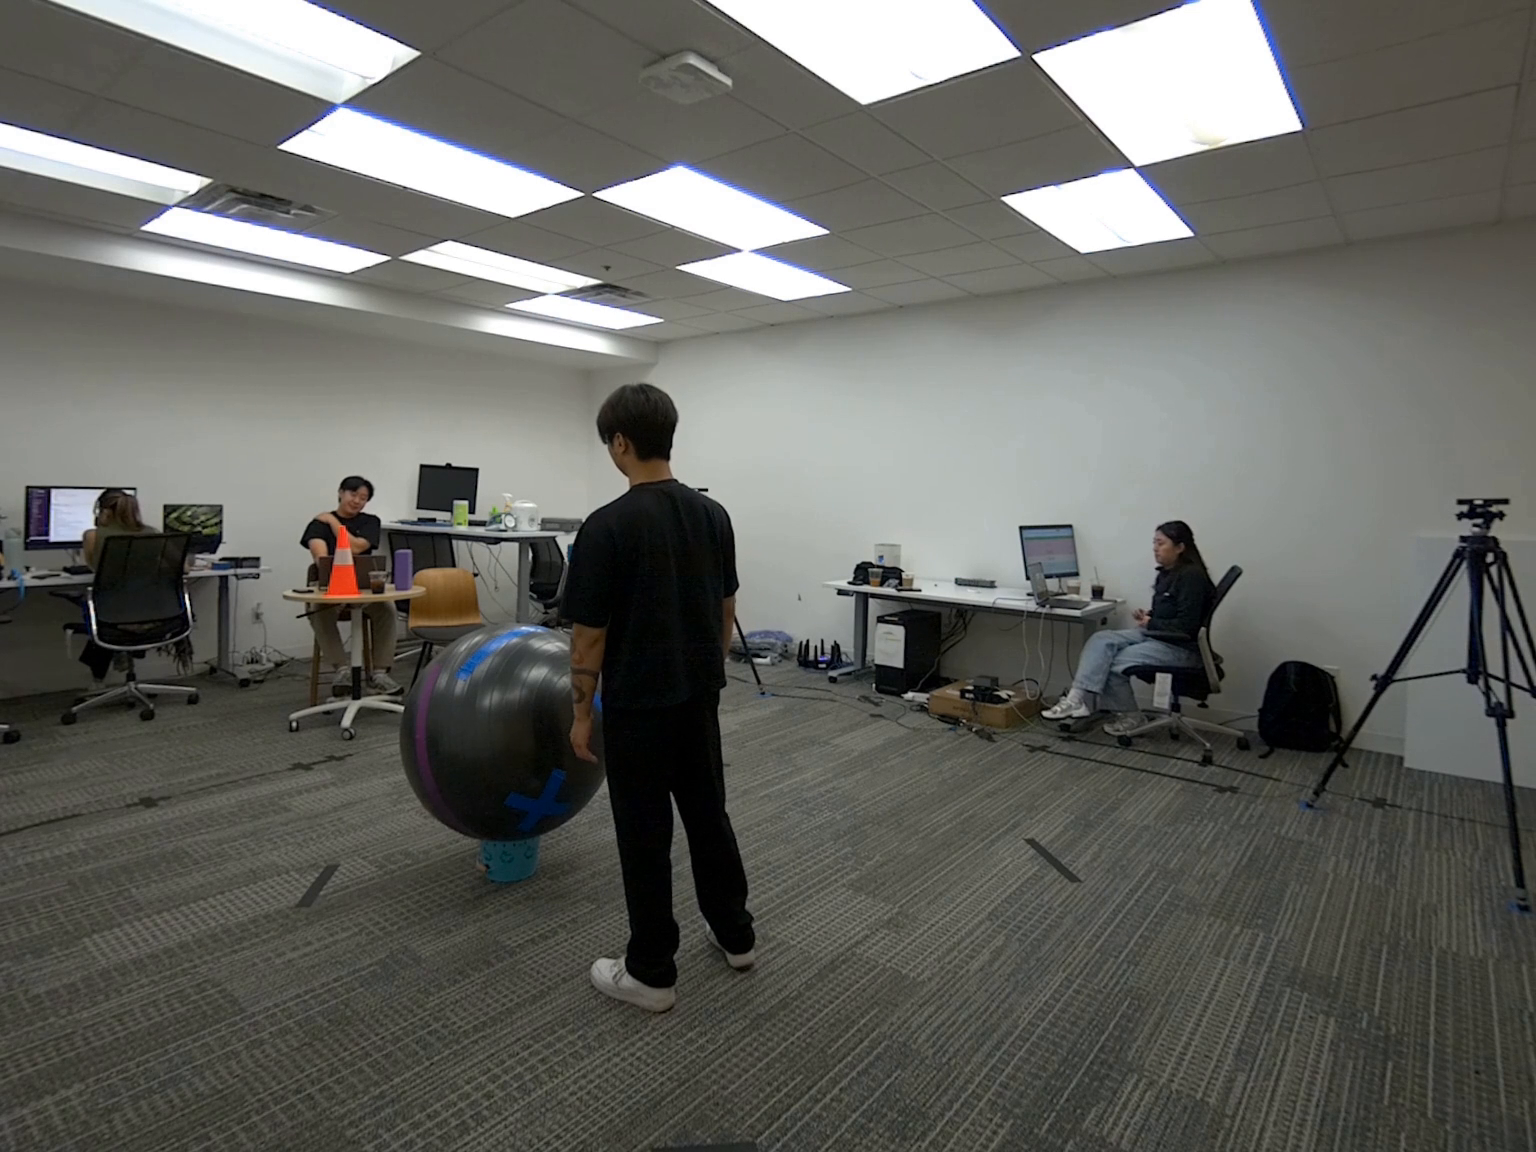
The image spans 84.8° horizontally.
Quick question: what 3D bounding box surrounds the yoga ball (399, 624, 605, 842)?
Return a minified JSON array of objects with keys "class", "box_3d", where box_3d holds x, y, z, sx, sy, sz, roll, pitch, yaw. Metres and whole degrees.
[{"class":"yoga ball","box_3d":[-0.929,0.550,3.055,0.757,0.756,0.762,1,4,-2]}]
